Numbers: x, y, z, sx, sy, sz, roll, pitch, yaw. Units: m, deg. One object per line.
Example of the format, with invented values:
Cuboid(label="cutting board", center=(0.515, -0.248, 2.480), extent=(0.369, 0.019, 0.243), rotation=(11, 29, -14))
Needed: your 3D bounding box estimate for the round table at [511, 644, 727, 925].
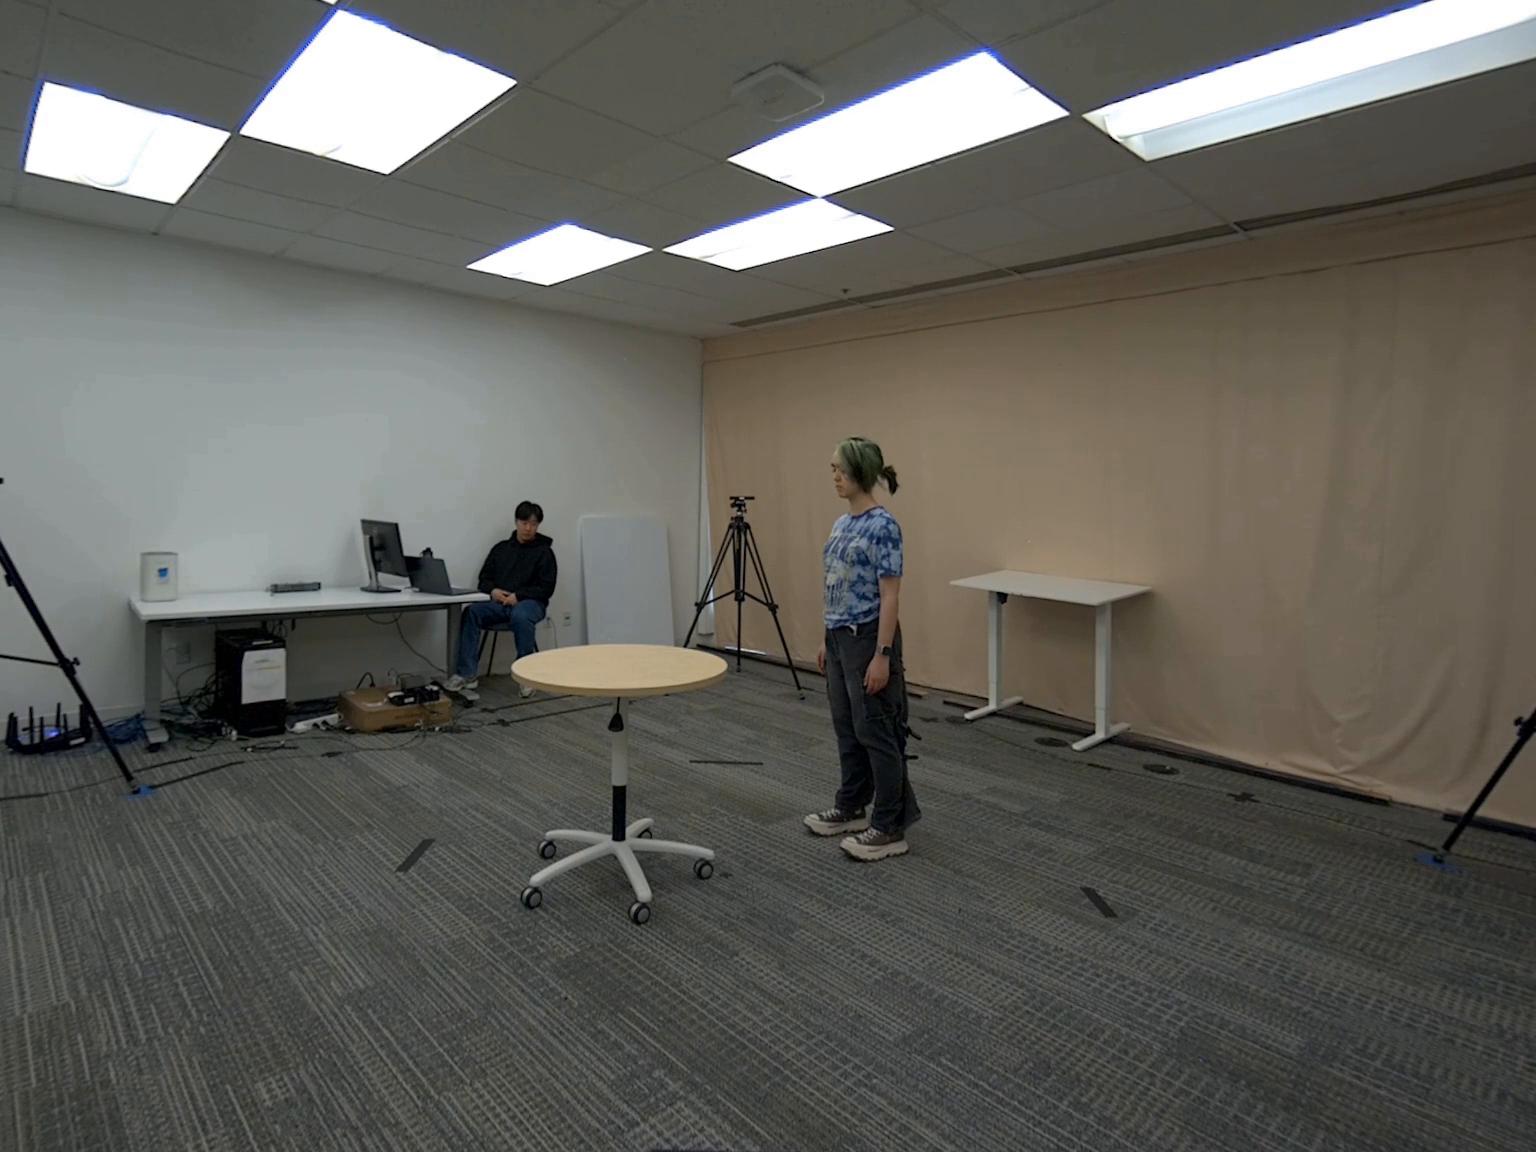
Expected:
Cuboid(label="round table", center=(-0.544, 0.713, 3.040), extent=(0.763, 0.792, 0.767), rotation=(1, 4, -1))
